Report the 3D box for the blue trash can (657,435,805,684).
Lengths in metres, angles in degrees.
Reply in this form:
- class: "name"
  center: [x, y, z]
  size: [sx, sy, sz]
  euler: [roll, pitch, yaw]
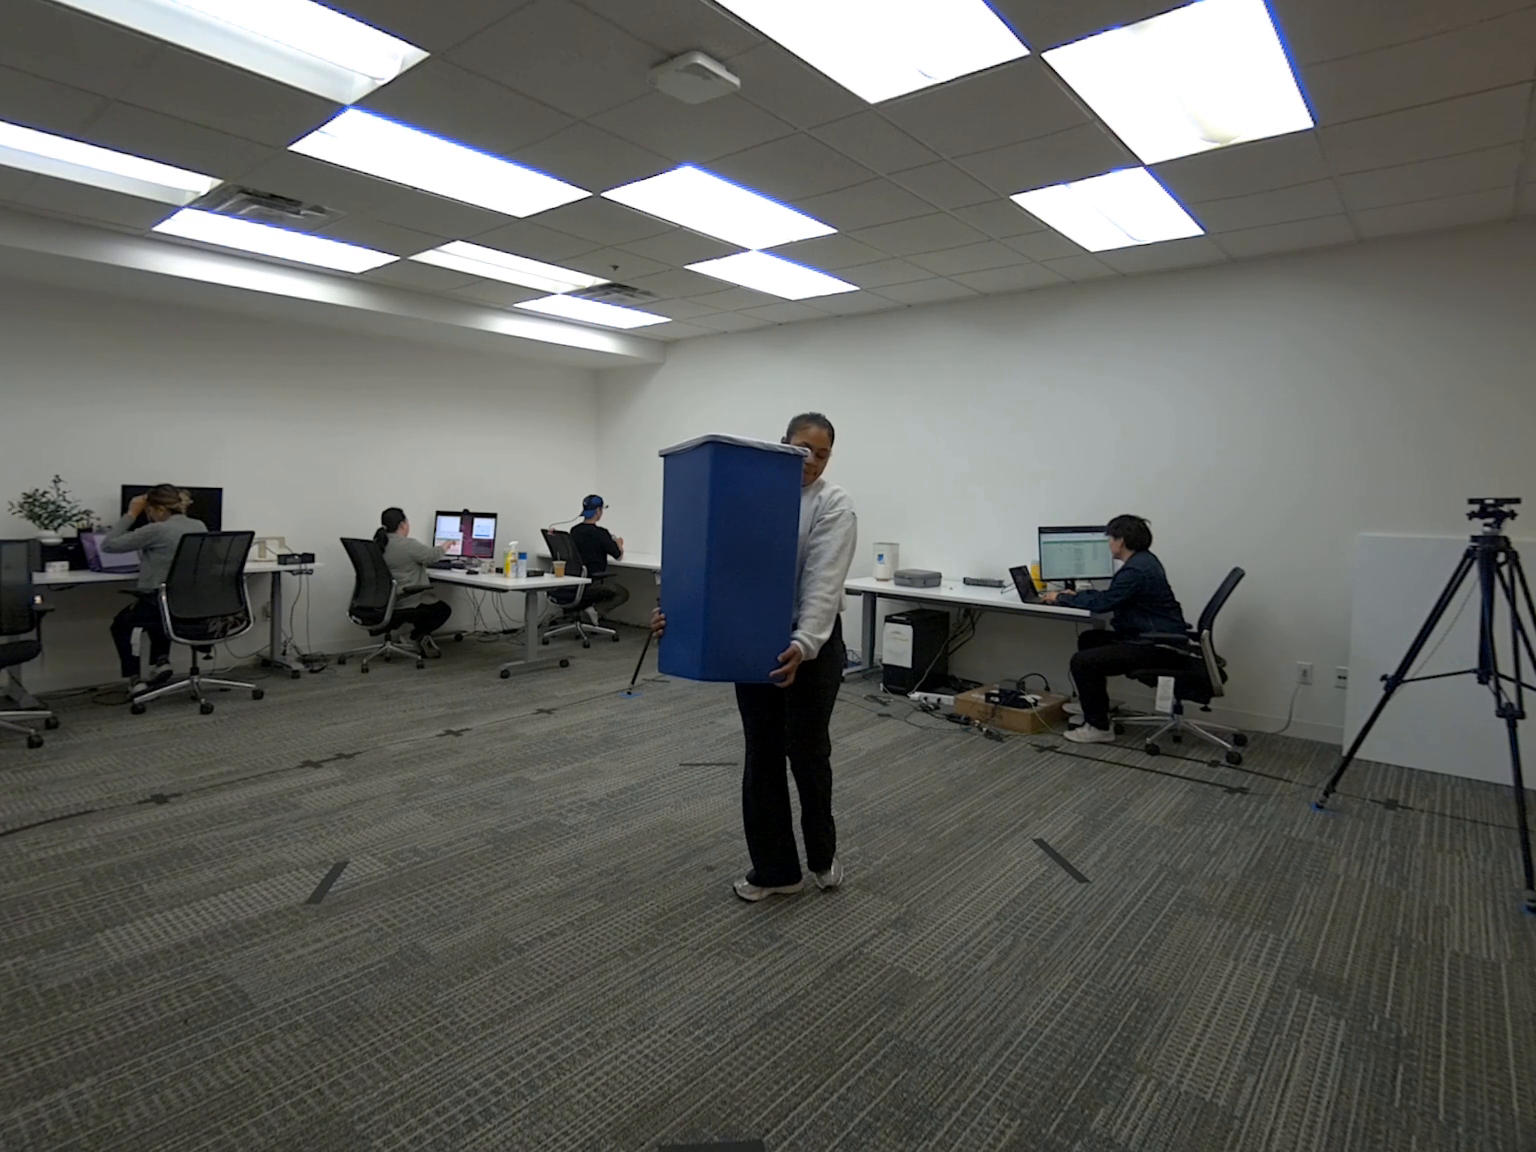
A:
- class: "blue trash can"
  center: [-0.140, -0.048, 2.655]
  size: [0.366, 0.717, 0.384]
  euler: [6, -5, -32]
